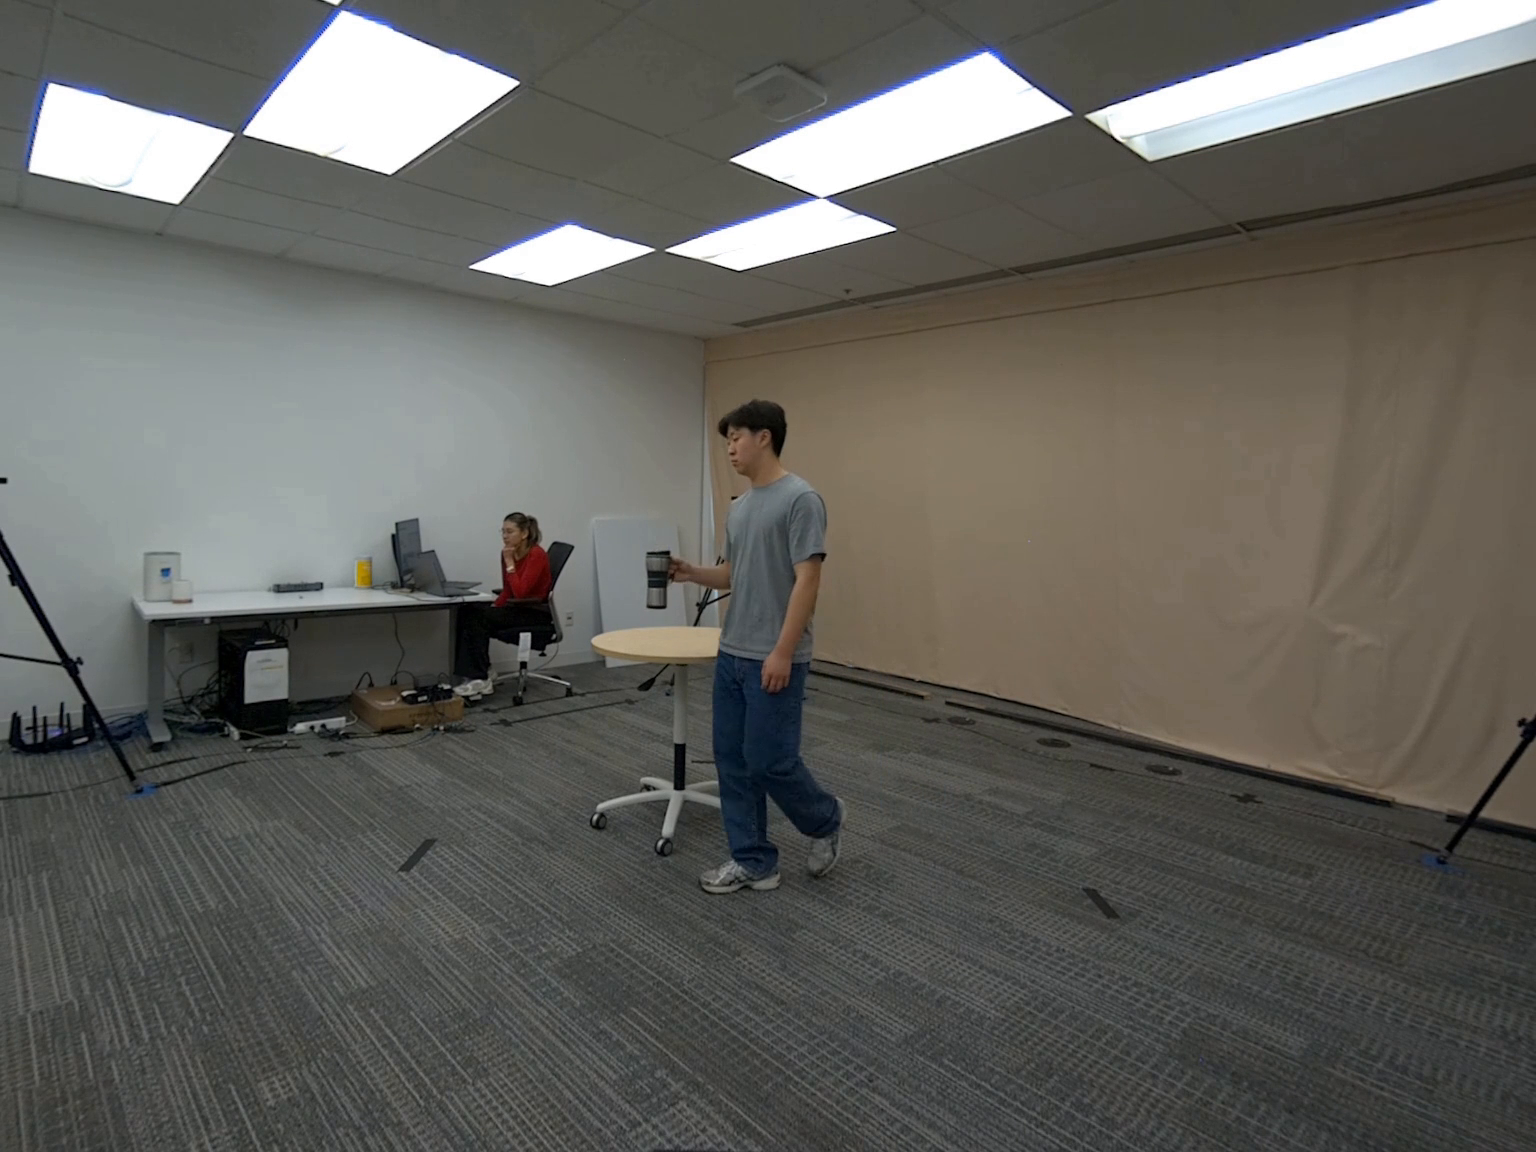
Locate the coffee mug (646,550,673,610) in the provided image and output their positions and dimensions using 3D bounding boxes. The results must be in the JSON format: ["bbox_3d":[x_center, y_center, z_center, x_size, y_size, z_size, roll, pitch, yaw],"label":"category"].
[{"bbox_3d":[-0.369,0.008,2.969,0.122,0.203,0.088,-1,-1,-3],"label":"coffee mug"}]
